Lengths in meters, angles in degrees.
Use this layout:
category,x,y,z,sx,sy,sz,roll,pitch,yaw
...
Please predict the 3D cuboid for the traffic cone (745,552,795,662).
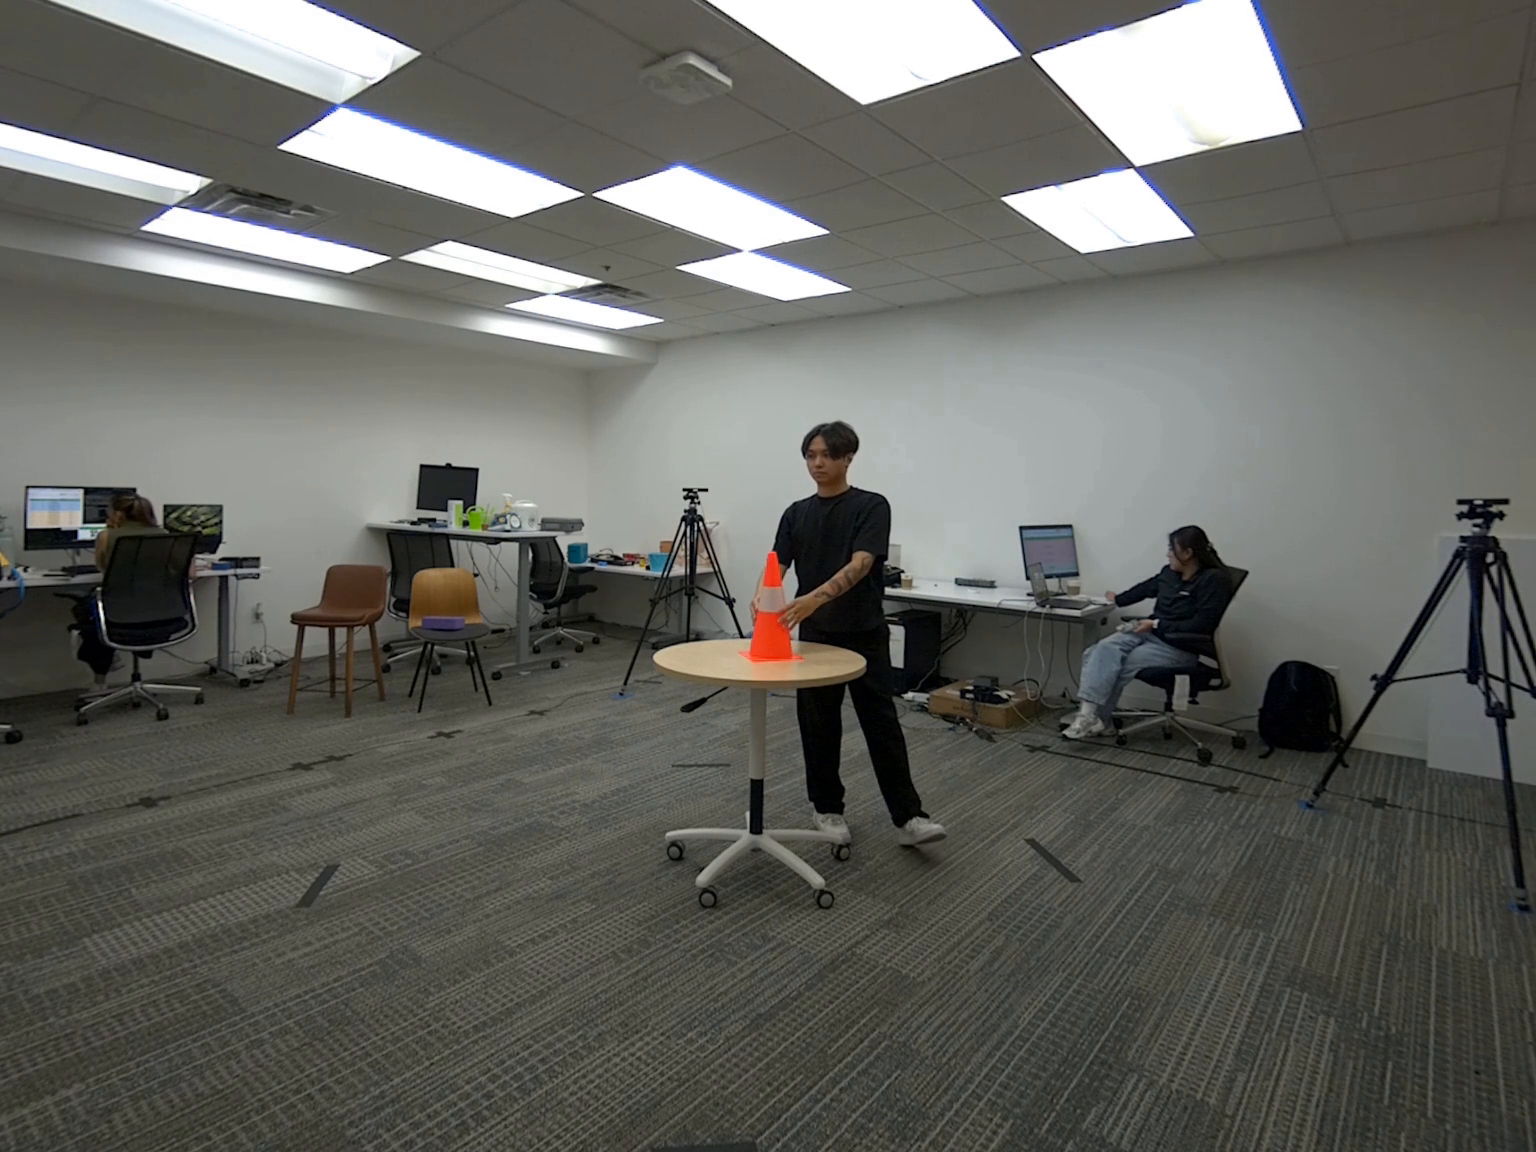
category,x,y,z,sx,sy,sz,roll,pitch,yaw
traffic cone,0.004,0.103,3.095,0.205,0.382,0.204,3,4,6
